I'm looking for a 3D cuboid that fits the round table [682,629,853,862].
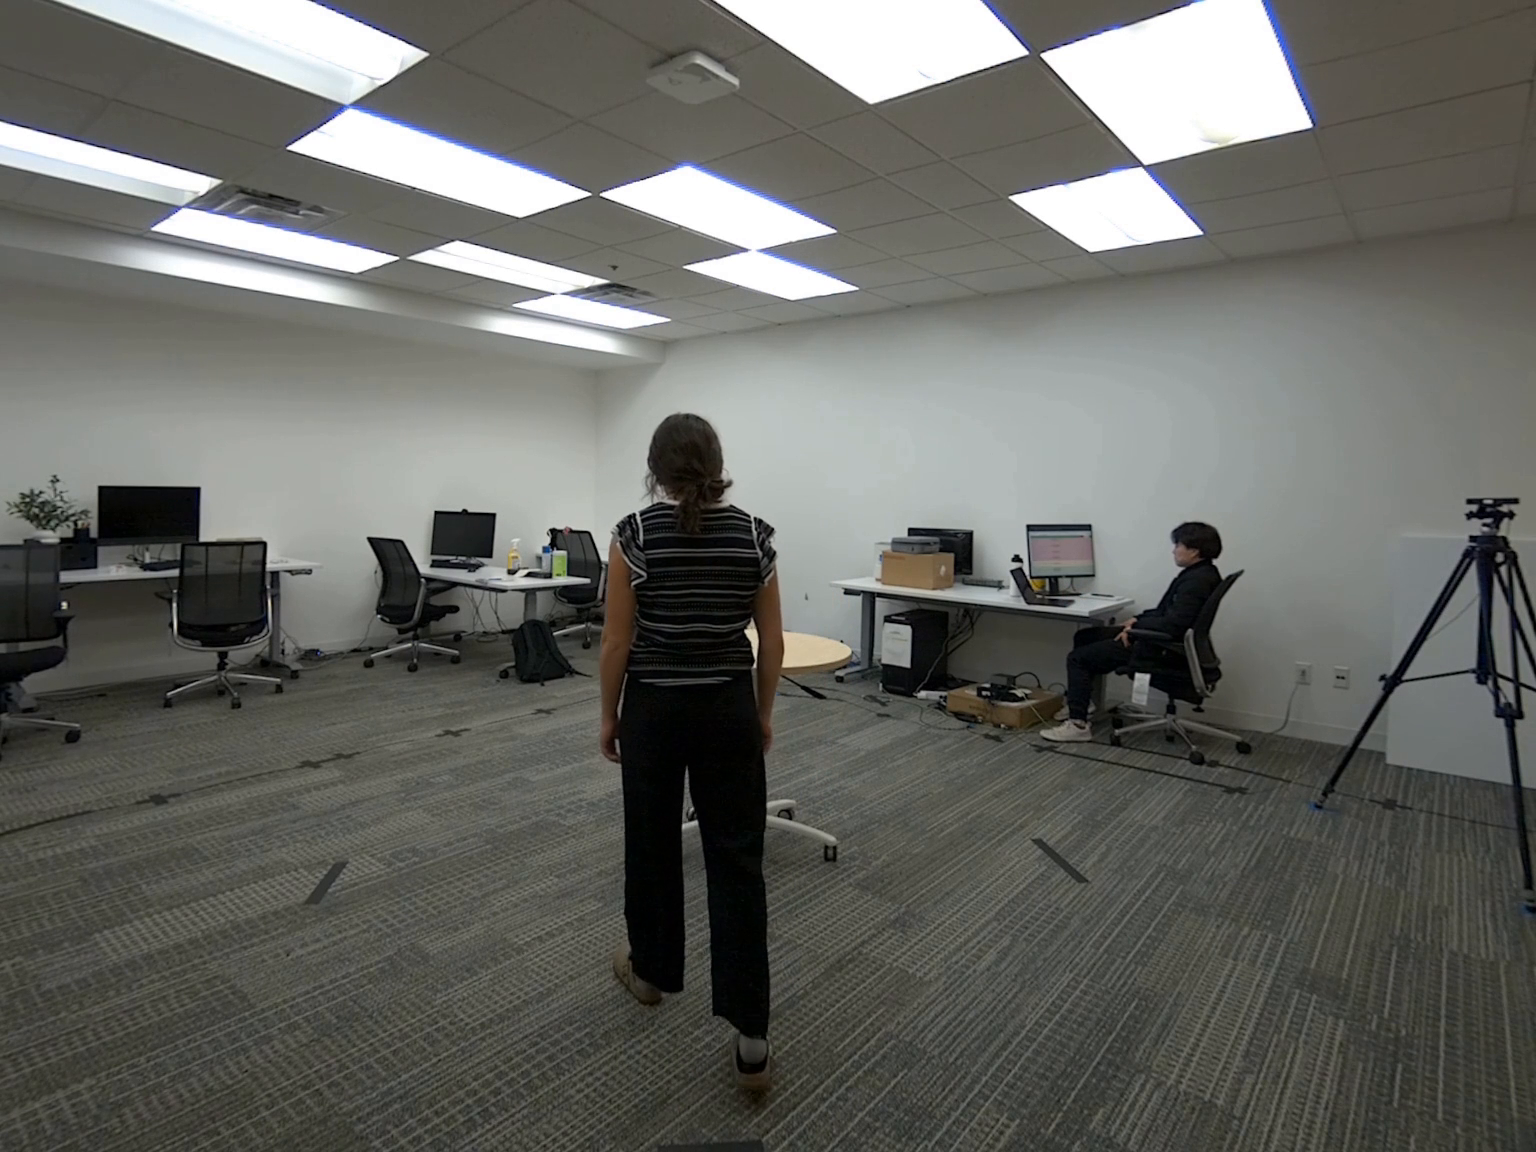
[{"bbox_3d":[-0.099,0.655,3.274,0.784,0.784,0.789,1,4,-2],"label":"round table"}]
